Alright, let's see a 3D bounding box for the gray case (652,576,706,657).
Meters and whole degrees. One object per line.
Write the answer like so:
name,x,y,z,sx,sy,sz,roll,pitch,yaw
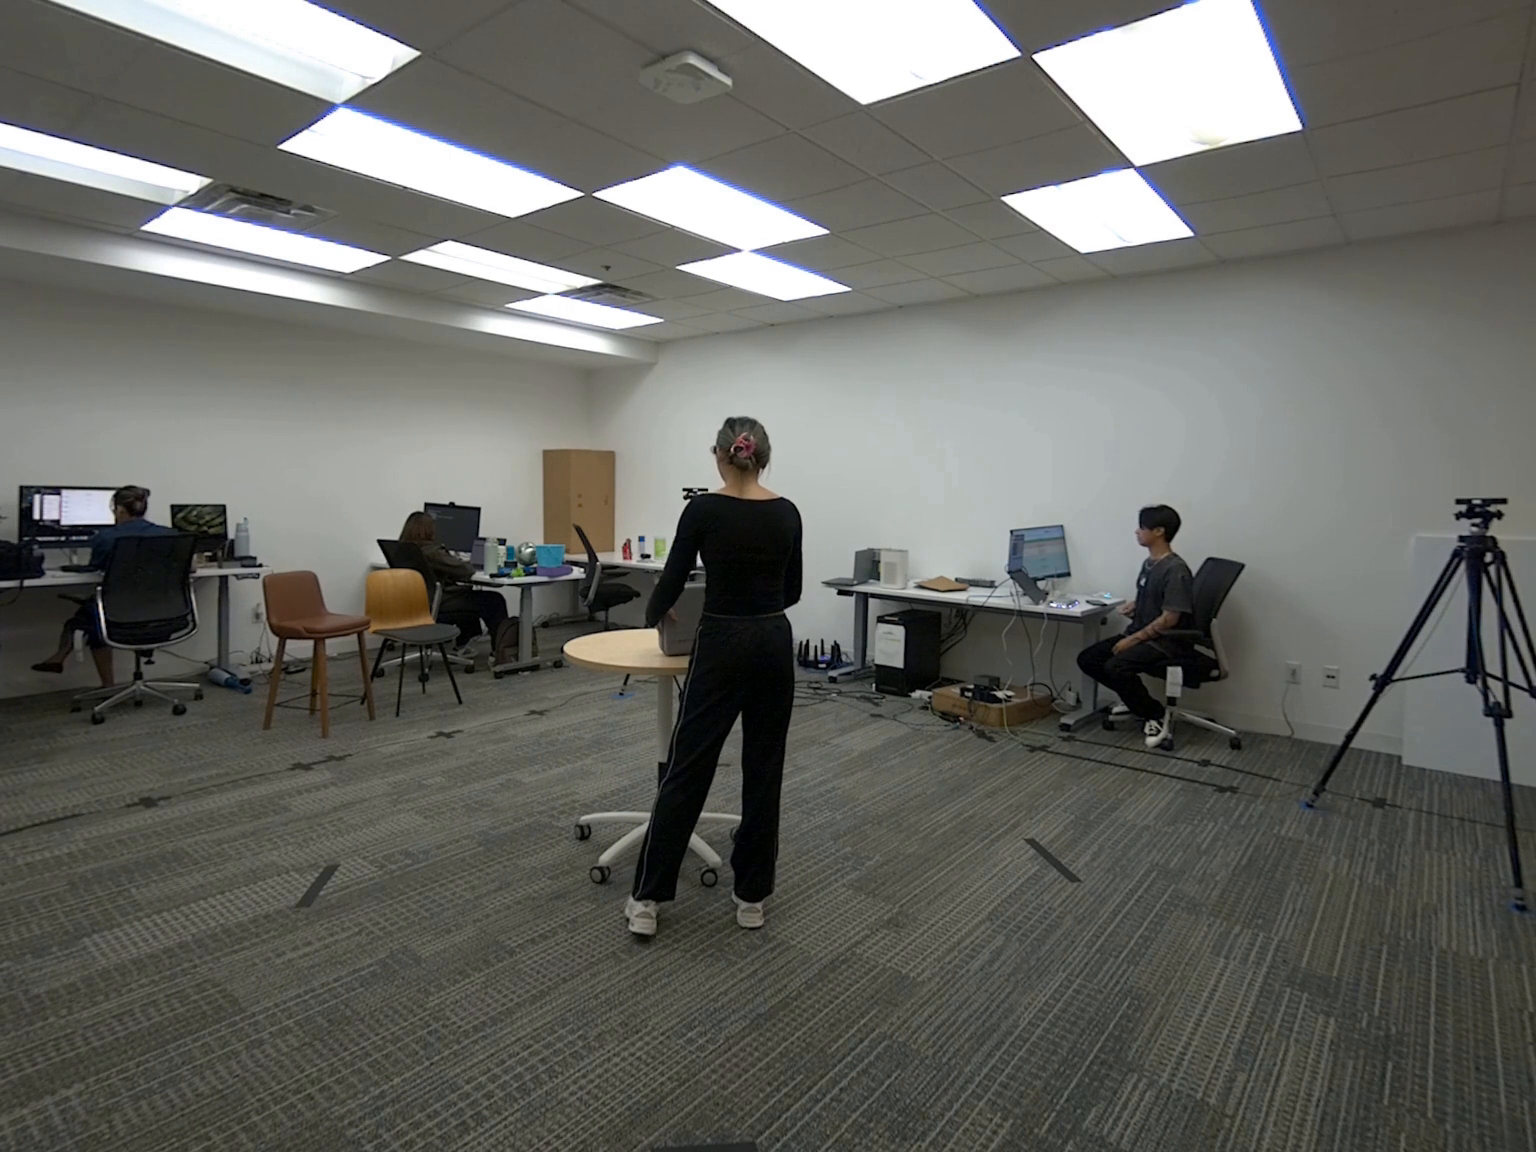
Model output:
gray case,-0.284,0.141,3.084,0.251,0.260,0.107,-4,4,-23
